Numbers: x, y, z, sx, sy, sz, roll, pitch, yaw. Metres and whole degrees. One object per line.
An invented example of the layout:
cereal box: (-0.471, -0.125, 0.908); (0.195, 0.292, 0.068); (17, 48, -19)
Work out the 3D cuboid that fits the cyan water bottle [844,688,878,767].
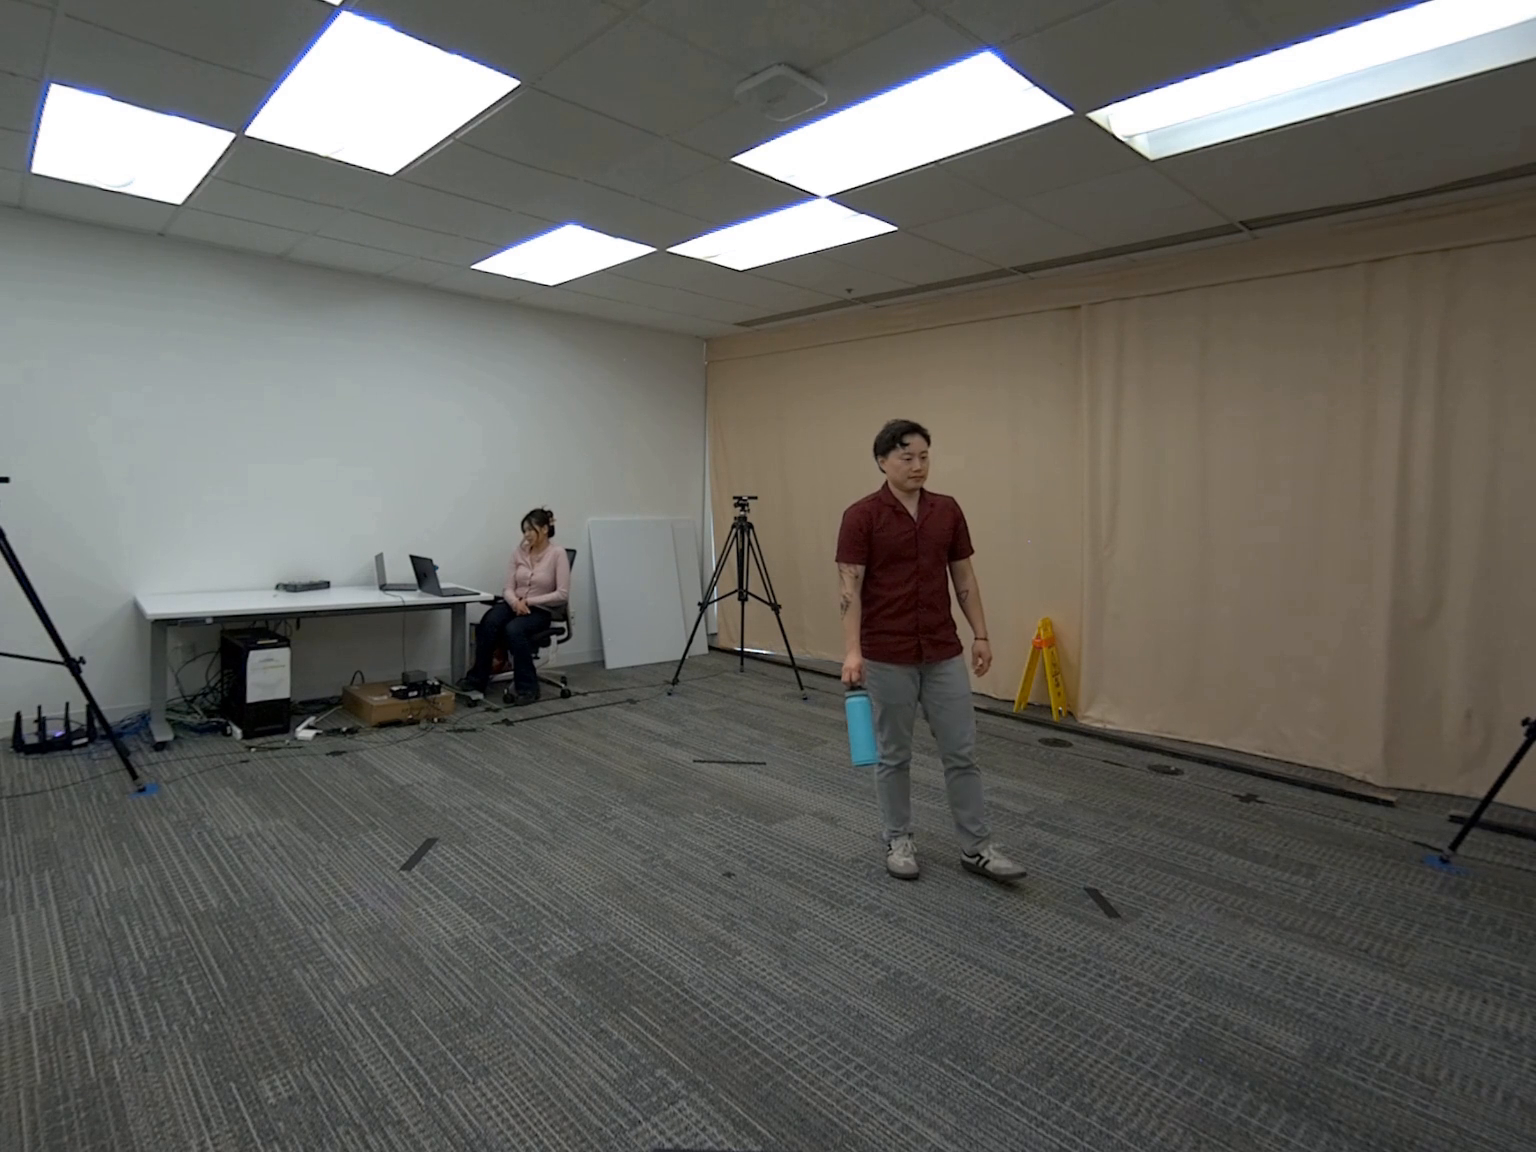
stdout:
cyan water bottle: (0.322, 0.520, 2.946); (0.092, 0.287, 0.091); (-4, -18, -3)
